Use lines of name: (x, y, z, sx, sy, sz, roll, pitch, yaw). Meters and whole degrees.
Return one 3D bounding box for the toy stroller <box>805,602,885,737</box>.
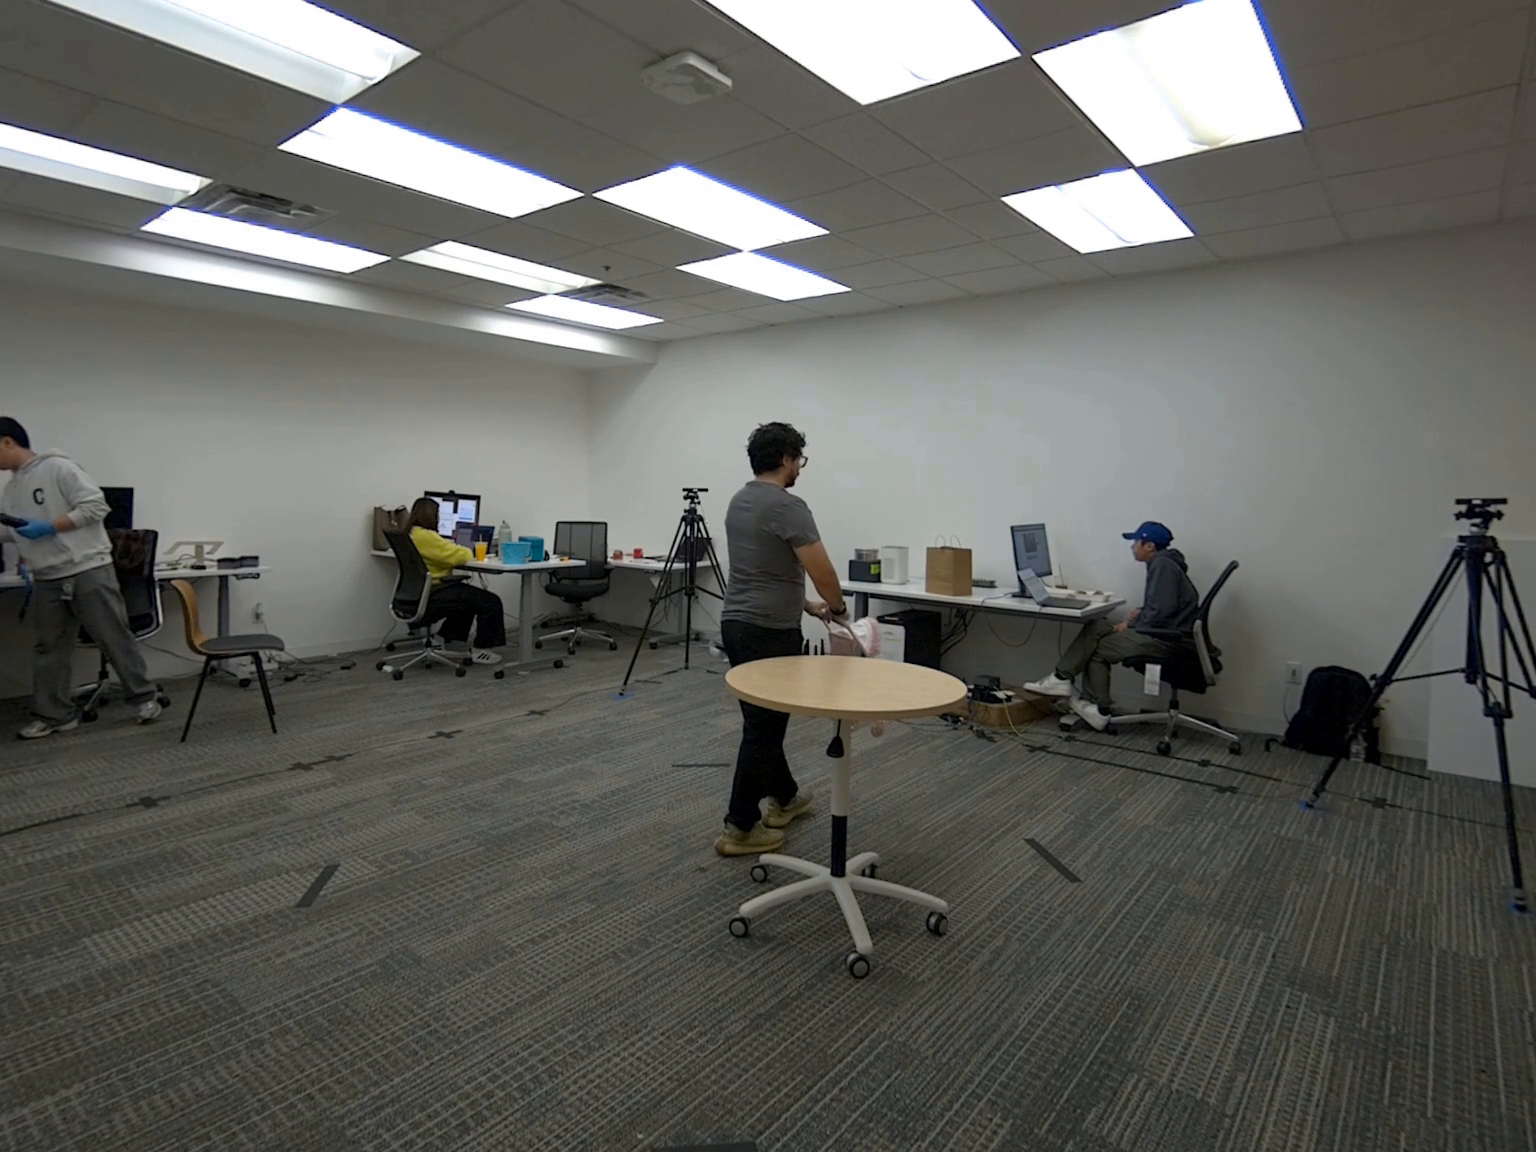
toy stroller: (0.362, 0.408, 3.527, 0.333, 0.533, 0.289, 2, 4, -23)
